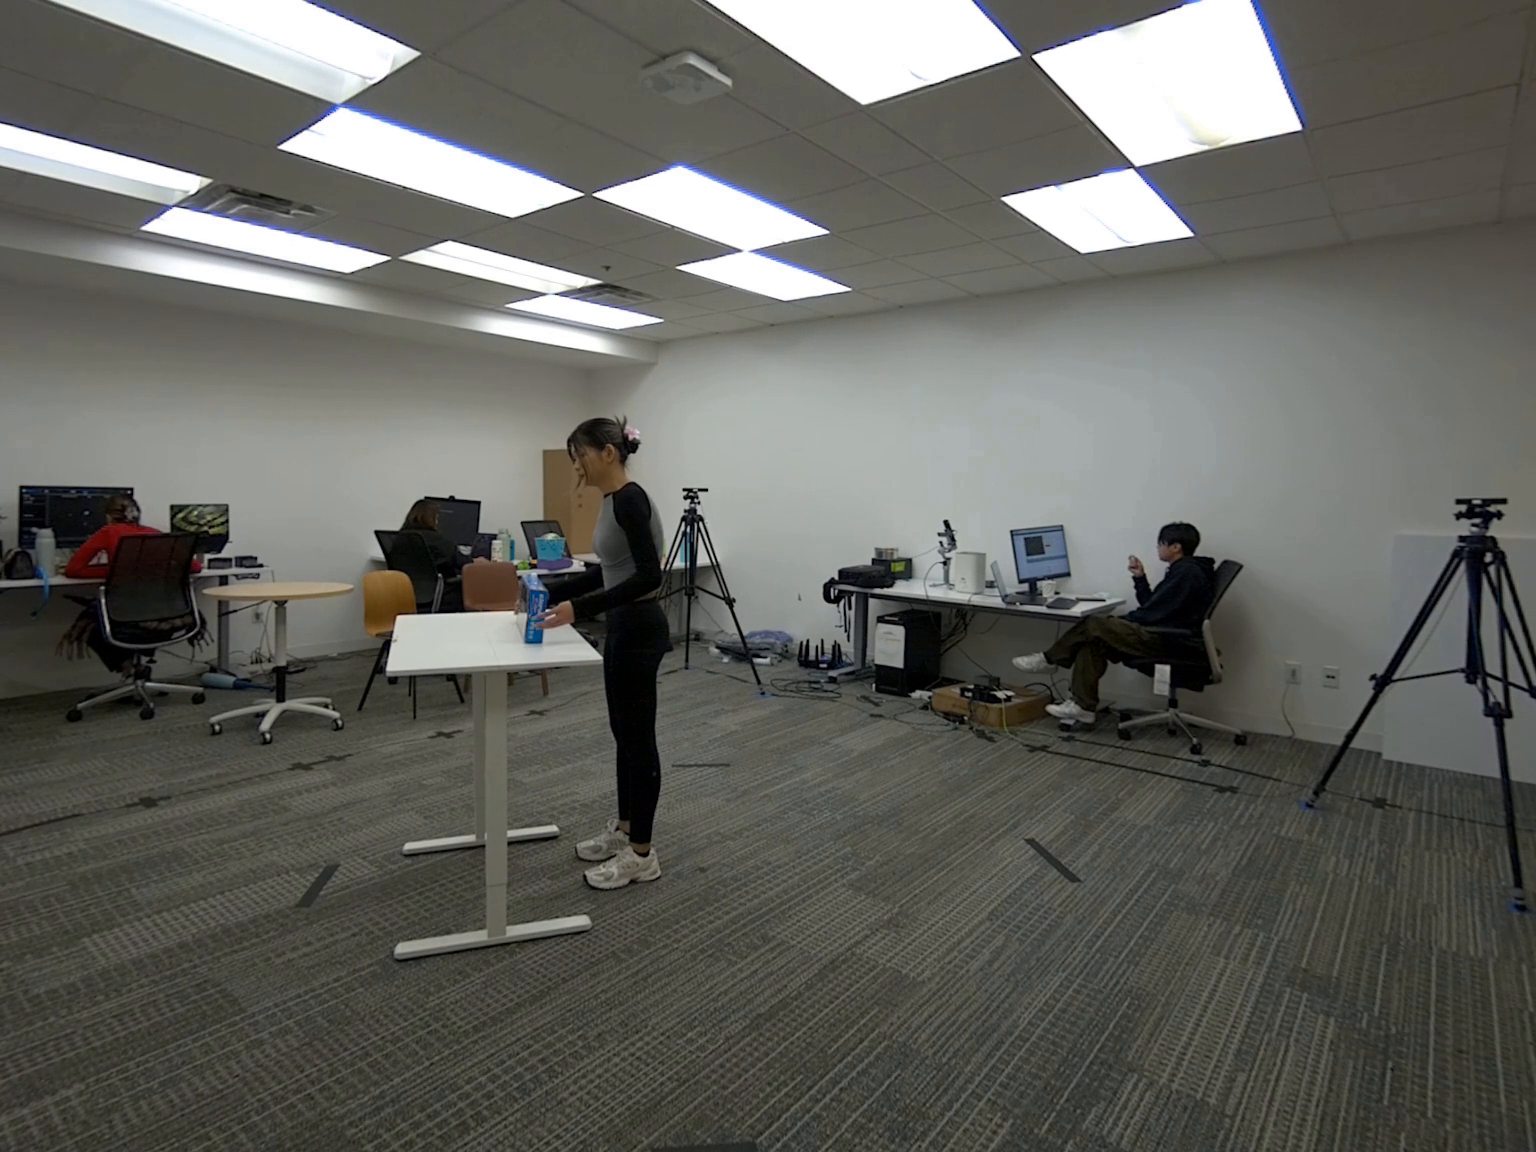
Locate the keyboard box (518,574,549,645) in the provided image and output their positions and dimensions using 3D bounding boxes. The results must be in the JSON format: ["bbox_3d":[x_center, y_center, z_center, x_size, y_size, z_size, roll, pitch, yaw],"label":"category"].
[{"bbox_3d":[-0.829,0.103,2.948,0.058,0.175,0.447,5,5,-21],"label":"keyboard box"}]
